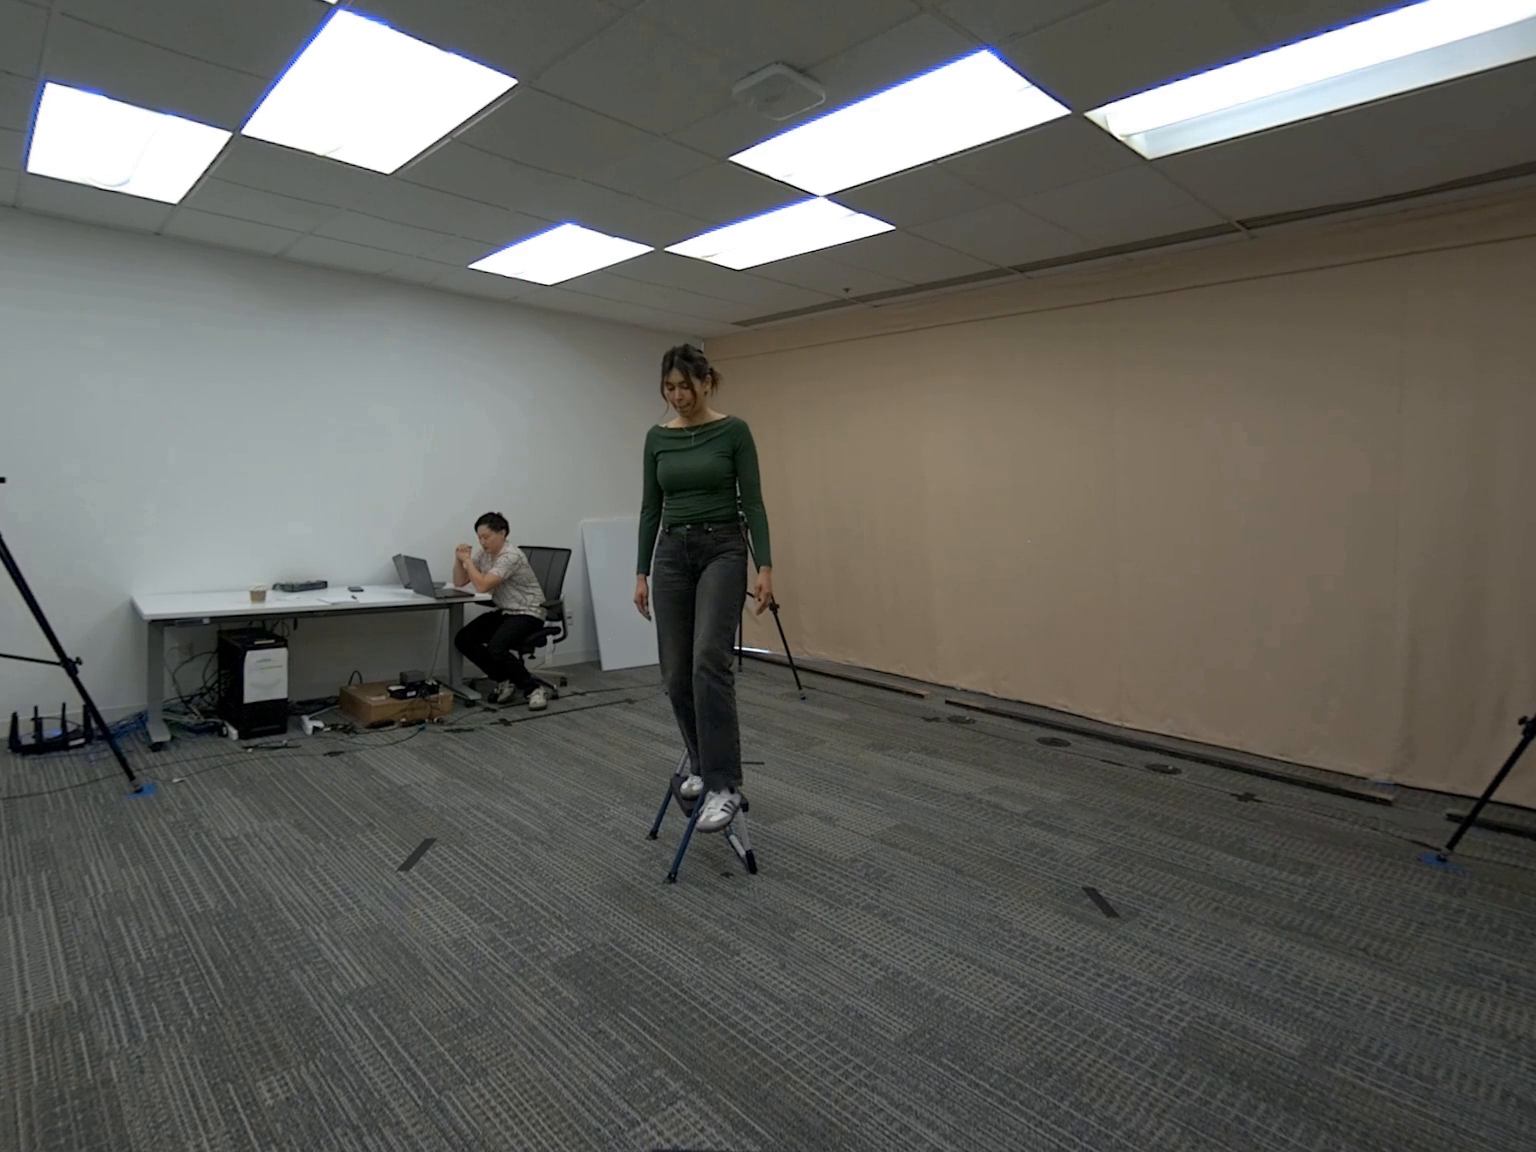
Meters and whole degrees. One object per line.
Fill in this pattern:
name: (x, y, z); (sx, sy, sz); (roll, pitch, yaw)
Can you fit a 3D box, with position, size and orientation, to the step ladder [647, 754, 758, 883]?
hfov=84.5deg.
step ladder: (-0.261, 0.787, 3.248); (0.345, 0.604, 0.437); (0, 4, -17)
